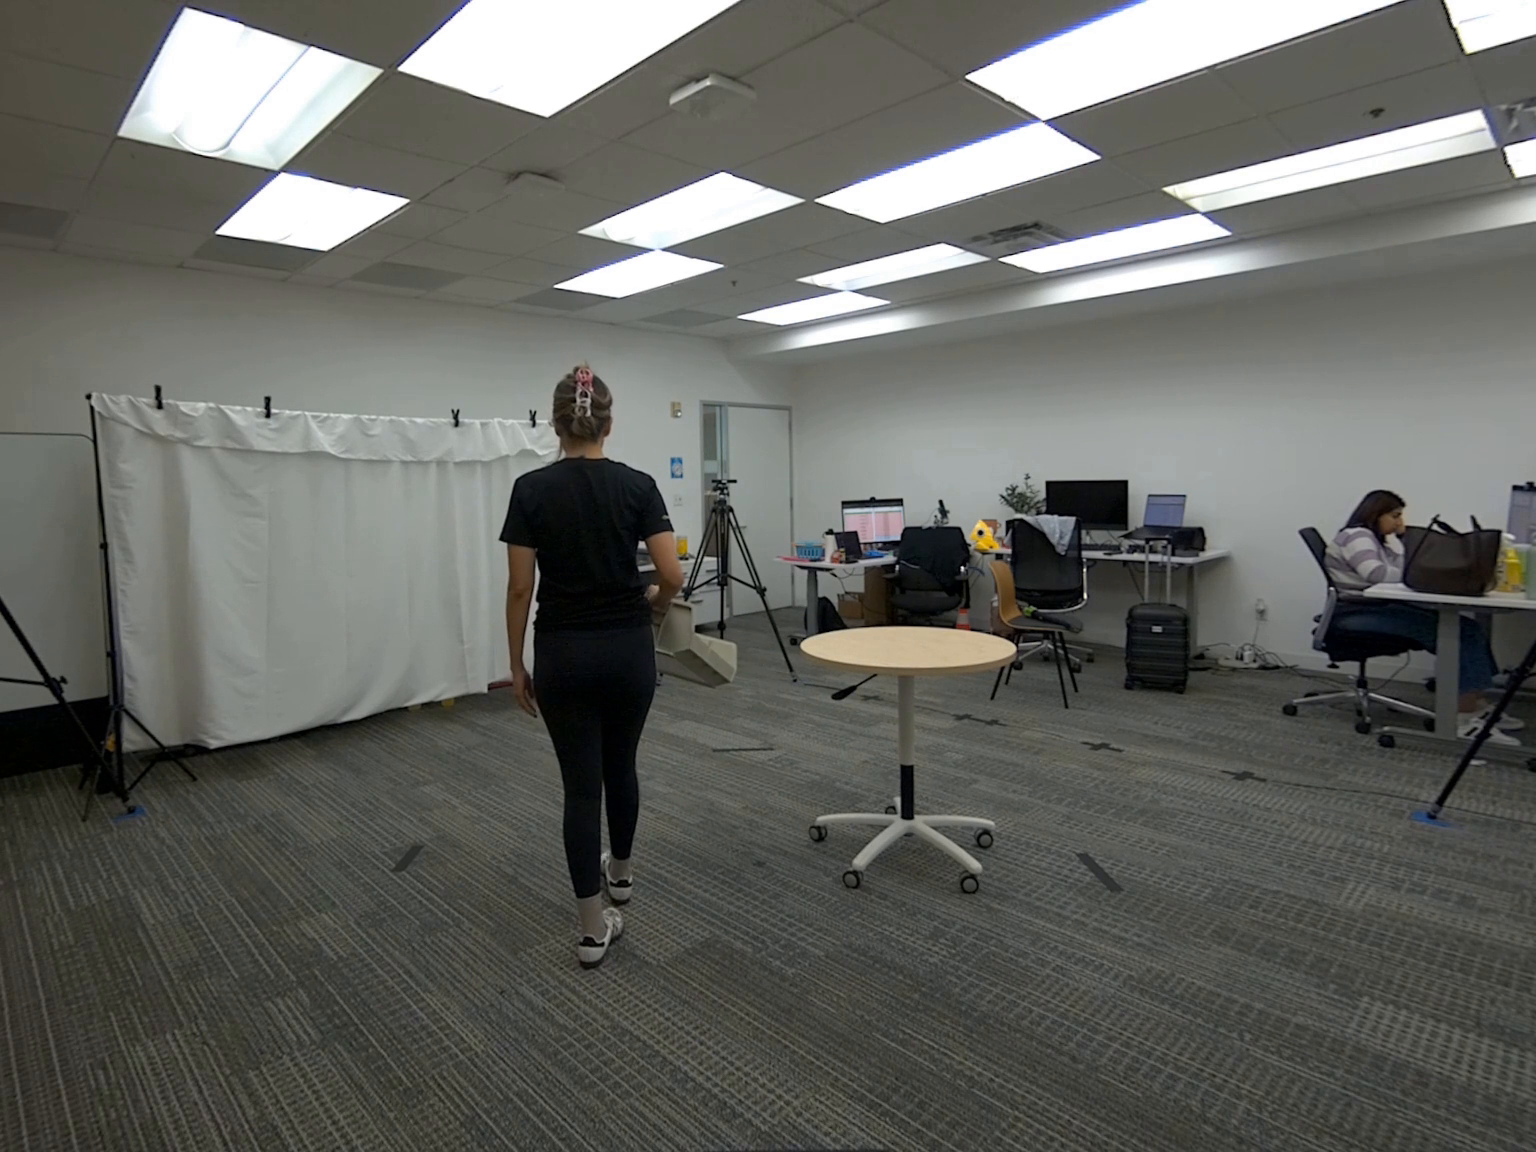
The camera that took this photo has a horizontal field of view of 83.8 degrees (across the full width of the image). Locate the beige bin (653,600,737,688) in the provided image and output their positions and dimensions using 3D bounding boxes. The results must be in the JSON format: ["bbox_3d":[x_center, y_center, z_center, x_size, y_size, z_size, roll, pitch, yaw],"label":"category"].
[{"bbox_3d":[-0.341,0.226,2.963,0.387,0.190,0.408,13,-17,24],"label":"beige bin"}]
